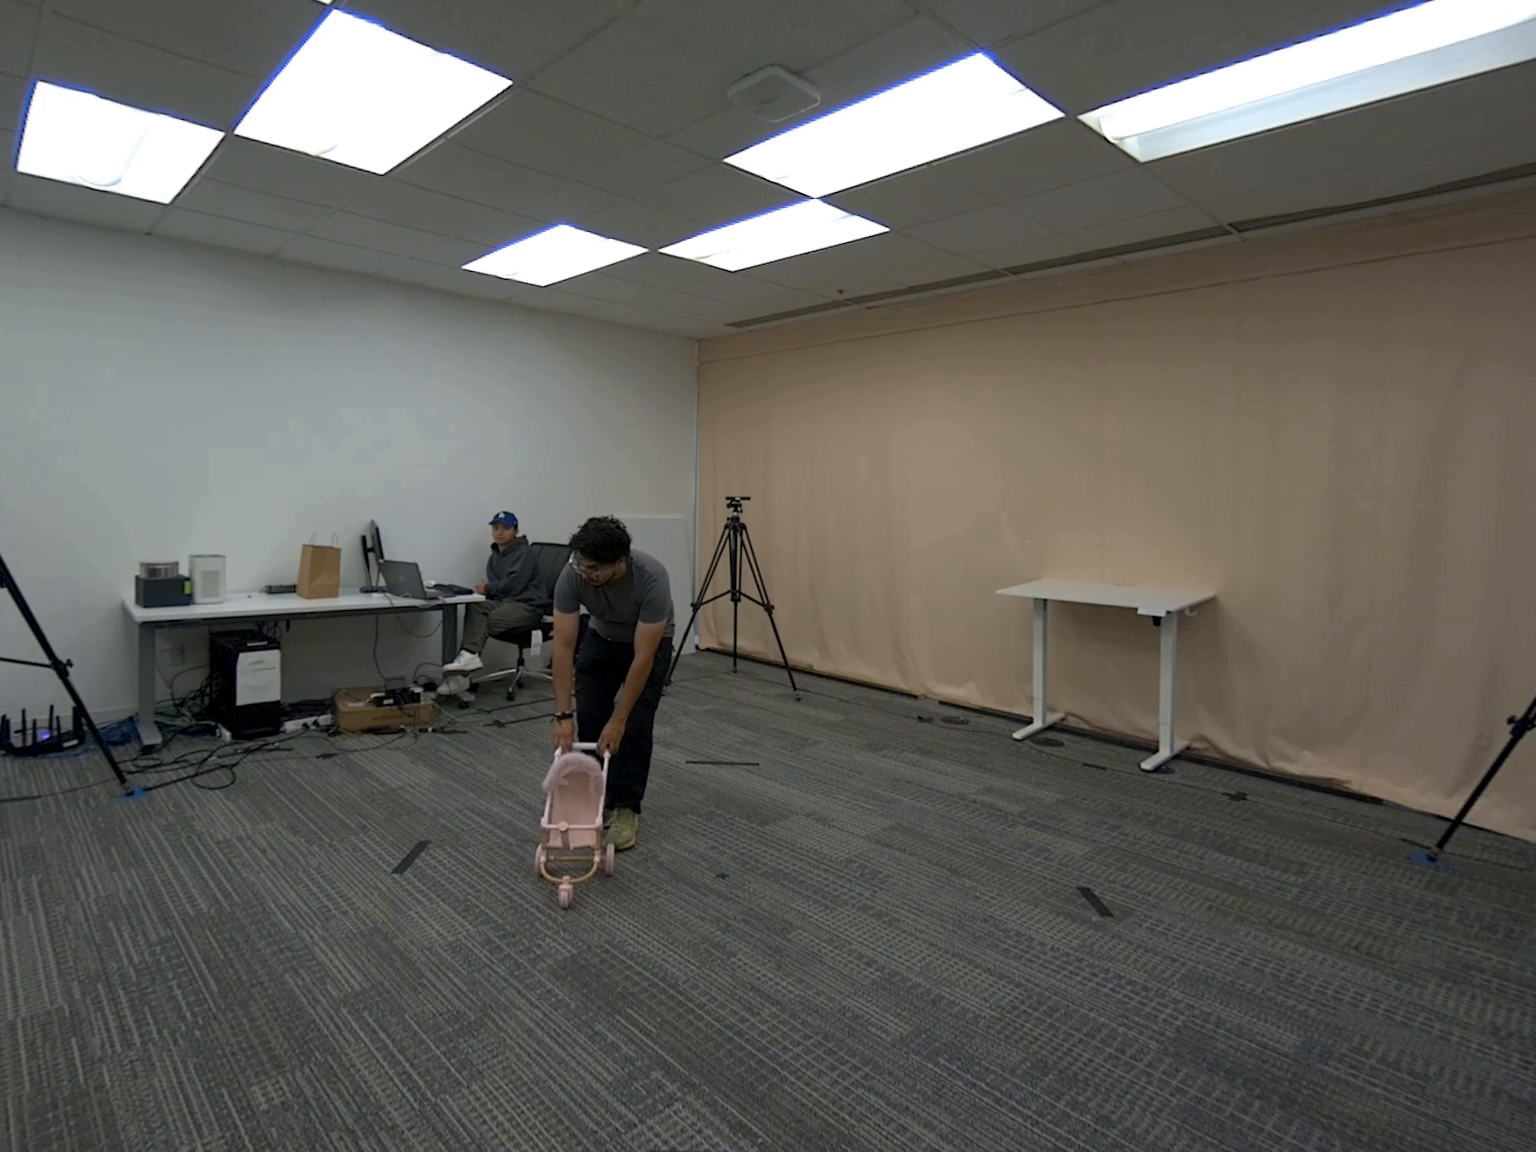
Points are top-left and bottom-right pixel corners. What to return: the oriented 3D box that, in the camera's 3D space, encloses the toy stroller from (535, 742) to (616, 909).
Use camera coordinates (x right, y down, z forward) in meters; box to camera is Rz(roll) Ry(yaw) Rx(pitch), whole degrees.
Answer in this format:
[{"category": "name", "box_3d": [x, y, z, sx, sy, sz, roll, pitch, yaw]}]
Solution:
[{"category": "toy stroller", "box_3d": [-0.704, 0.880, 3.006, 0.281, 0.539, 0.338, 2, -11, -1]}]
